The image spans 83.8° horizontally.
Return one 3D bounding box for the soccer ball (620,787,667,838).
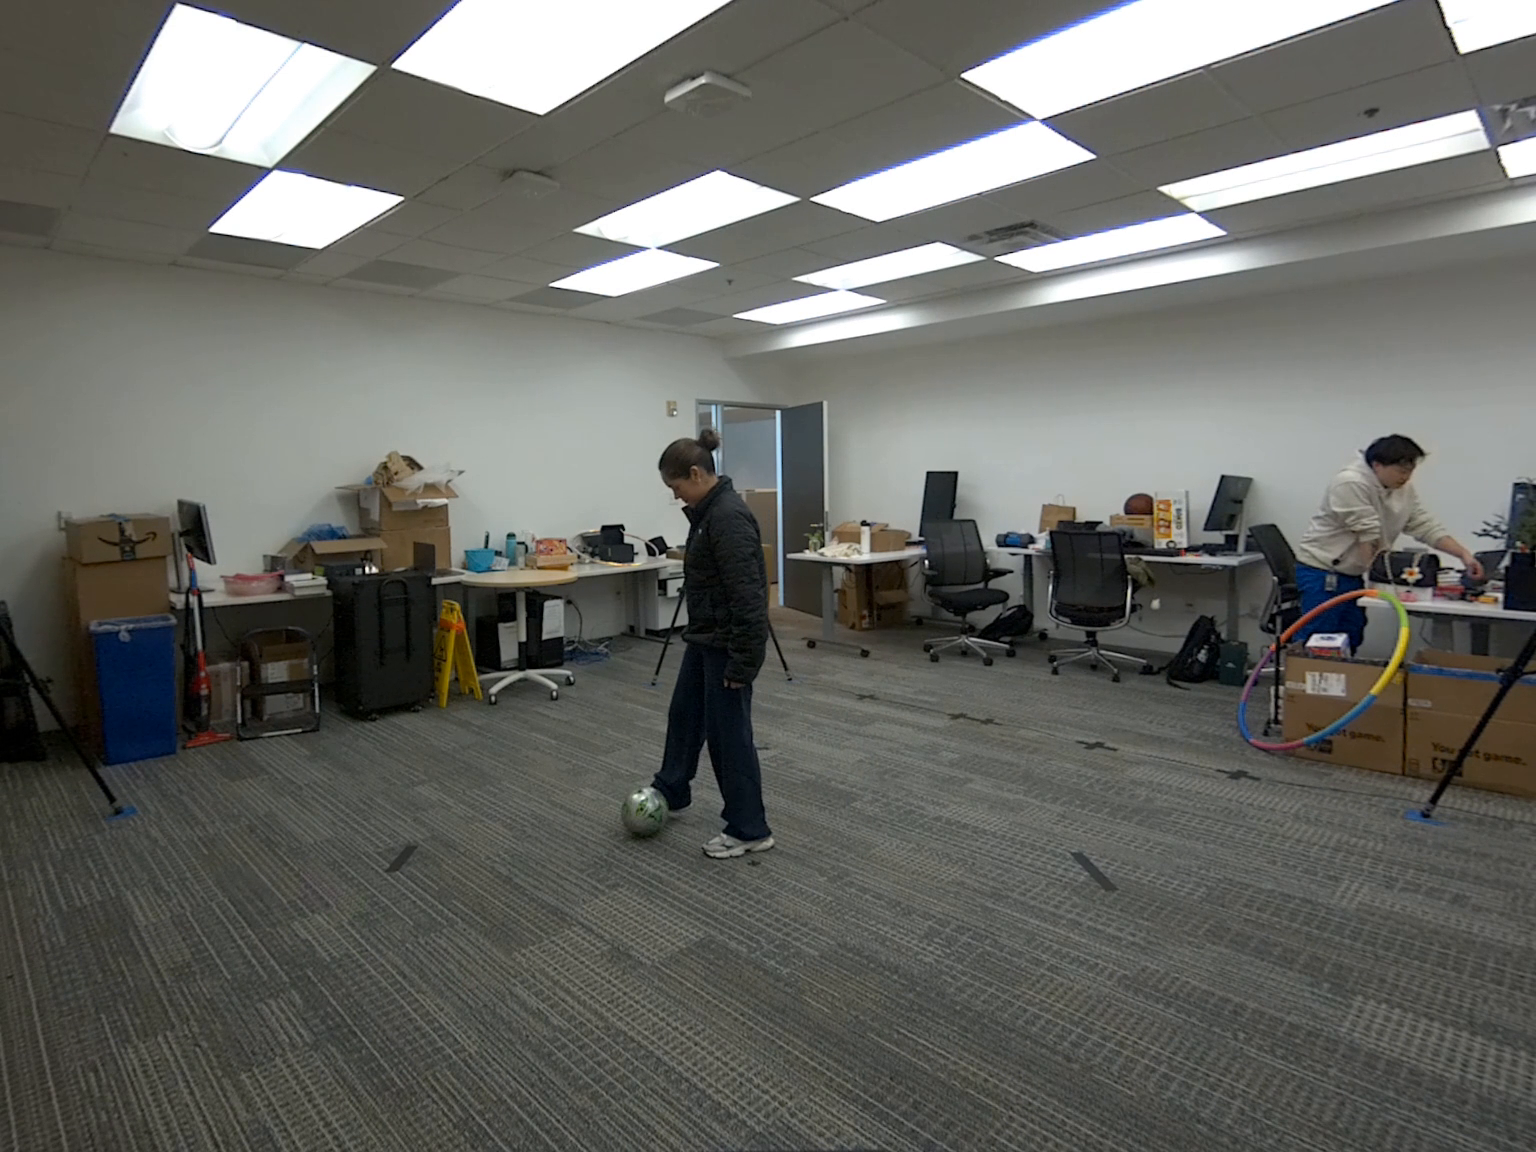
[{"bbox_3d":[-0.486,0.933,3.370,0.187,0.187,0.188,-1,5,-2],"label":"soccer ball"}]
